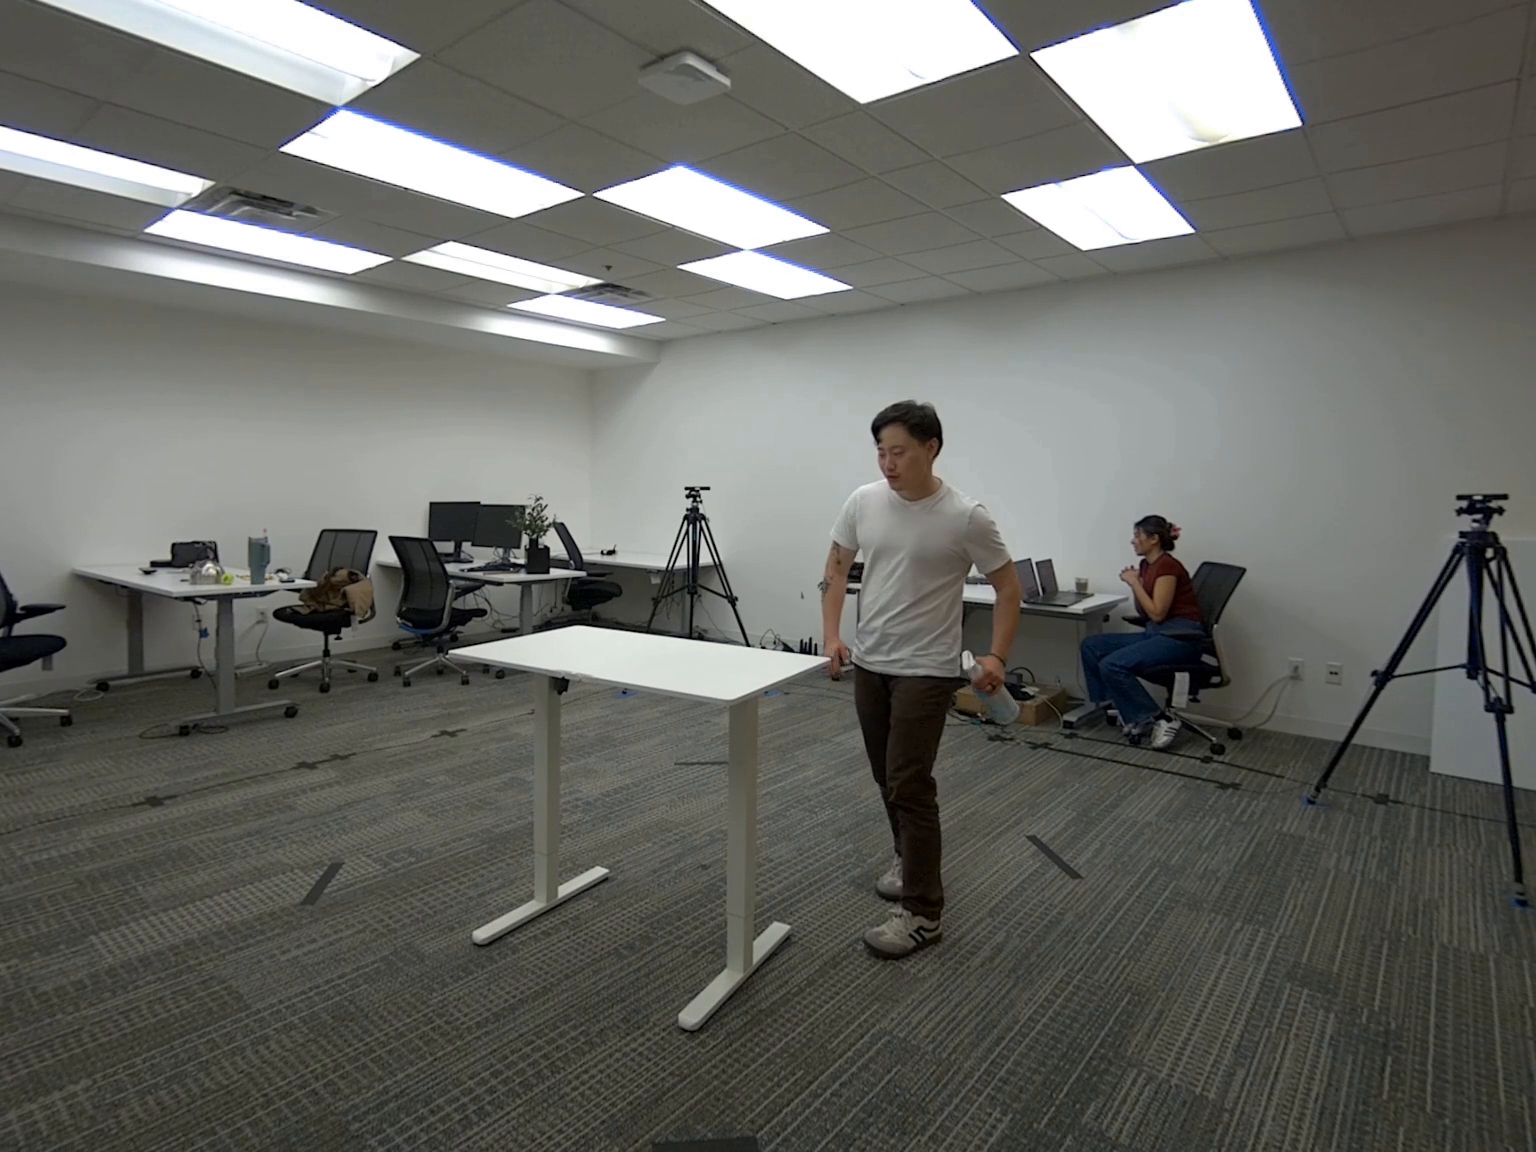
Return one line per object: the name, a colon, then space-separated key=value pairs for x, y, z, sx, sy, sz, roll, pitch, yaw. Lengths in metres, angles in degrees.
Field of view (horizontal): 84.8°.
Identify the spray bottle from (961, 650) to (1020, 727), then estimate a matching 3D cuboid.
spray bottle: x=0.657 y=0.326 z=2.599 sx=0.089 sy=0.090 sz=0.287 roll=-5 pitch=-45 yaw=48
